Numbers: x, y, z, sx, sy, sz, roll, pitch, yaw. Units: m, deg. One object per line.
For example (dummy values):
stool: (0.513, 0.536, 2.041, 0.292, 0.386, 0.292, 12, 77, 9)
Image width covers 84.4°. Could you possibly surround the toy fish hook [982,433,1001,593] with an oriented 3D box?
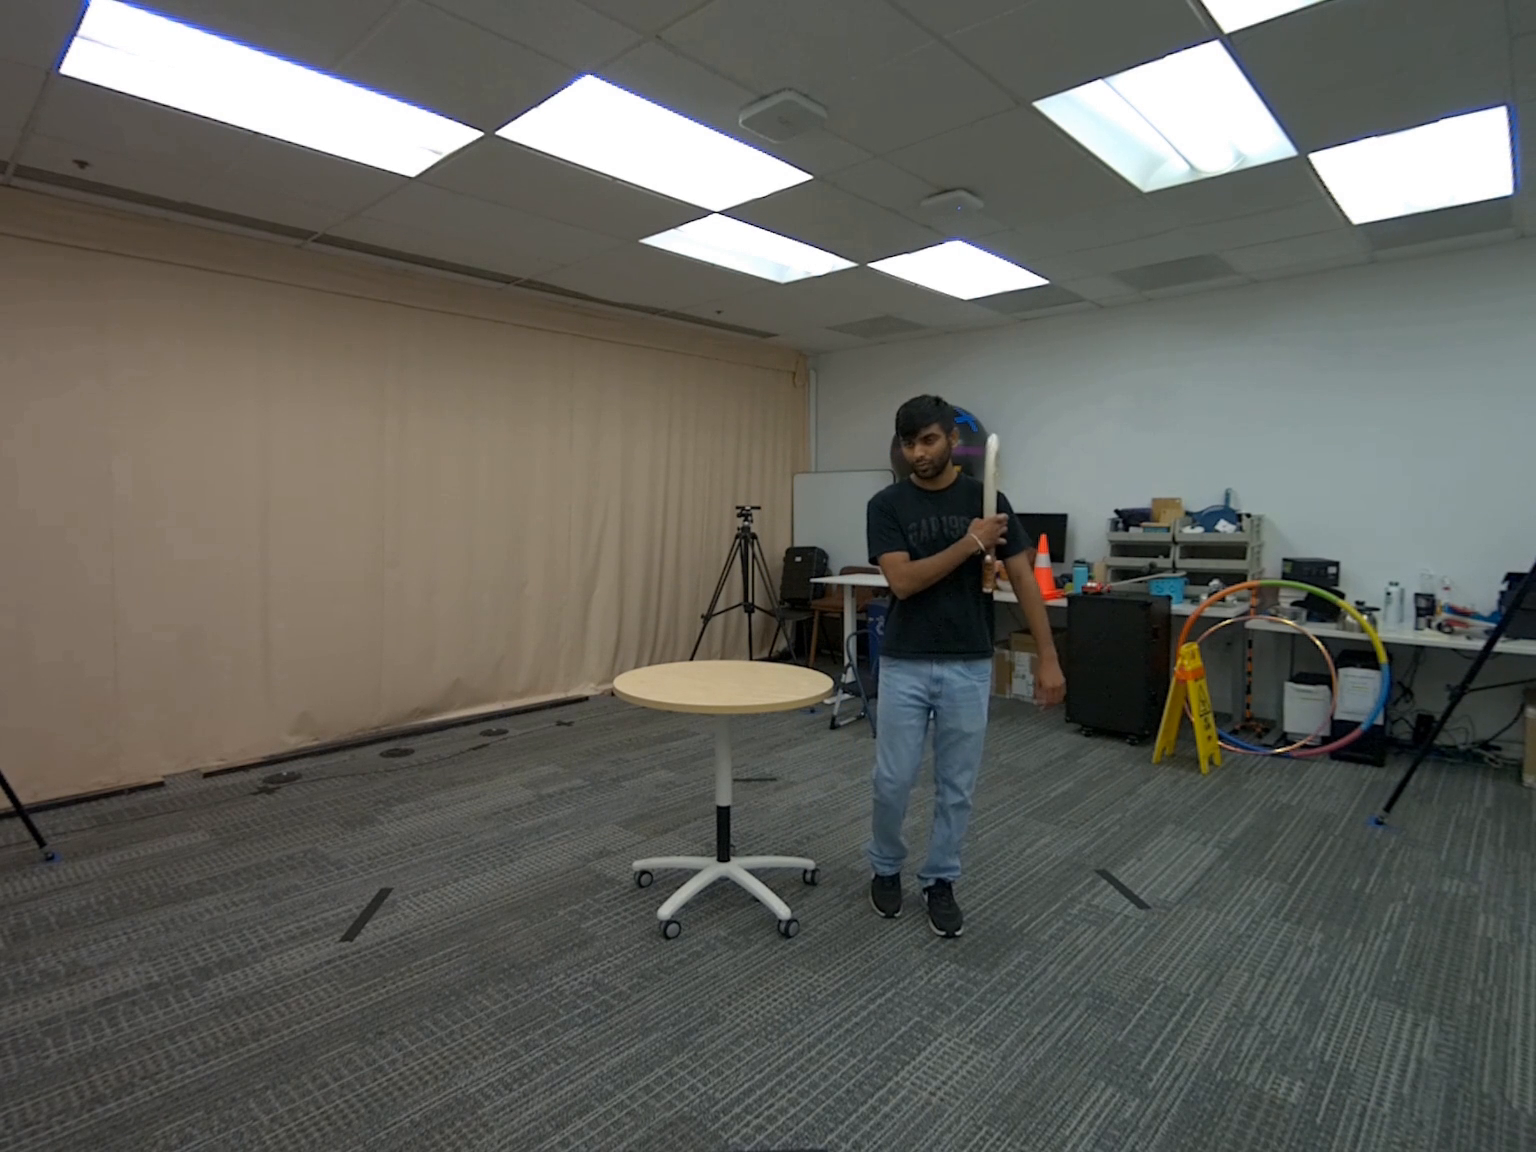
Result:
toy fish hook: (0.732, -0.179, 2.709, 0.049, 0.506, 0.219, 3, 3, 26)
